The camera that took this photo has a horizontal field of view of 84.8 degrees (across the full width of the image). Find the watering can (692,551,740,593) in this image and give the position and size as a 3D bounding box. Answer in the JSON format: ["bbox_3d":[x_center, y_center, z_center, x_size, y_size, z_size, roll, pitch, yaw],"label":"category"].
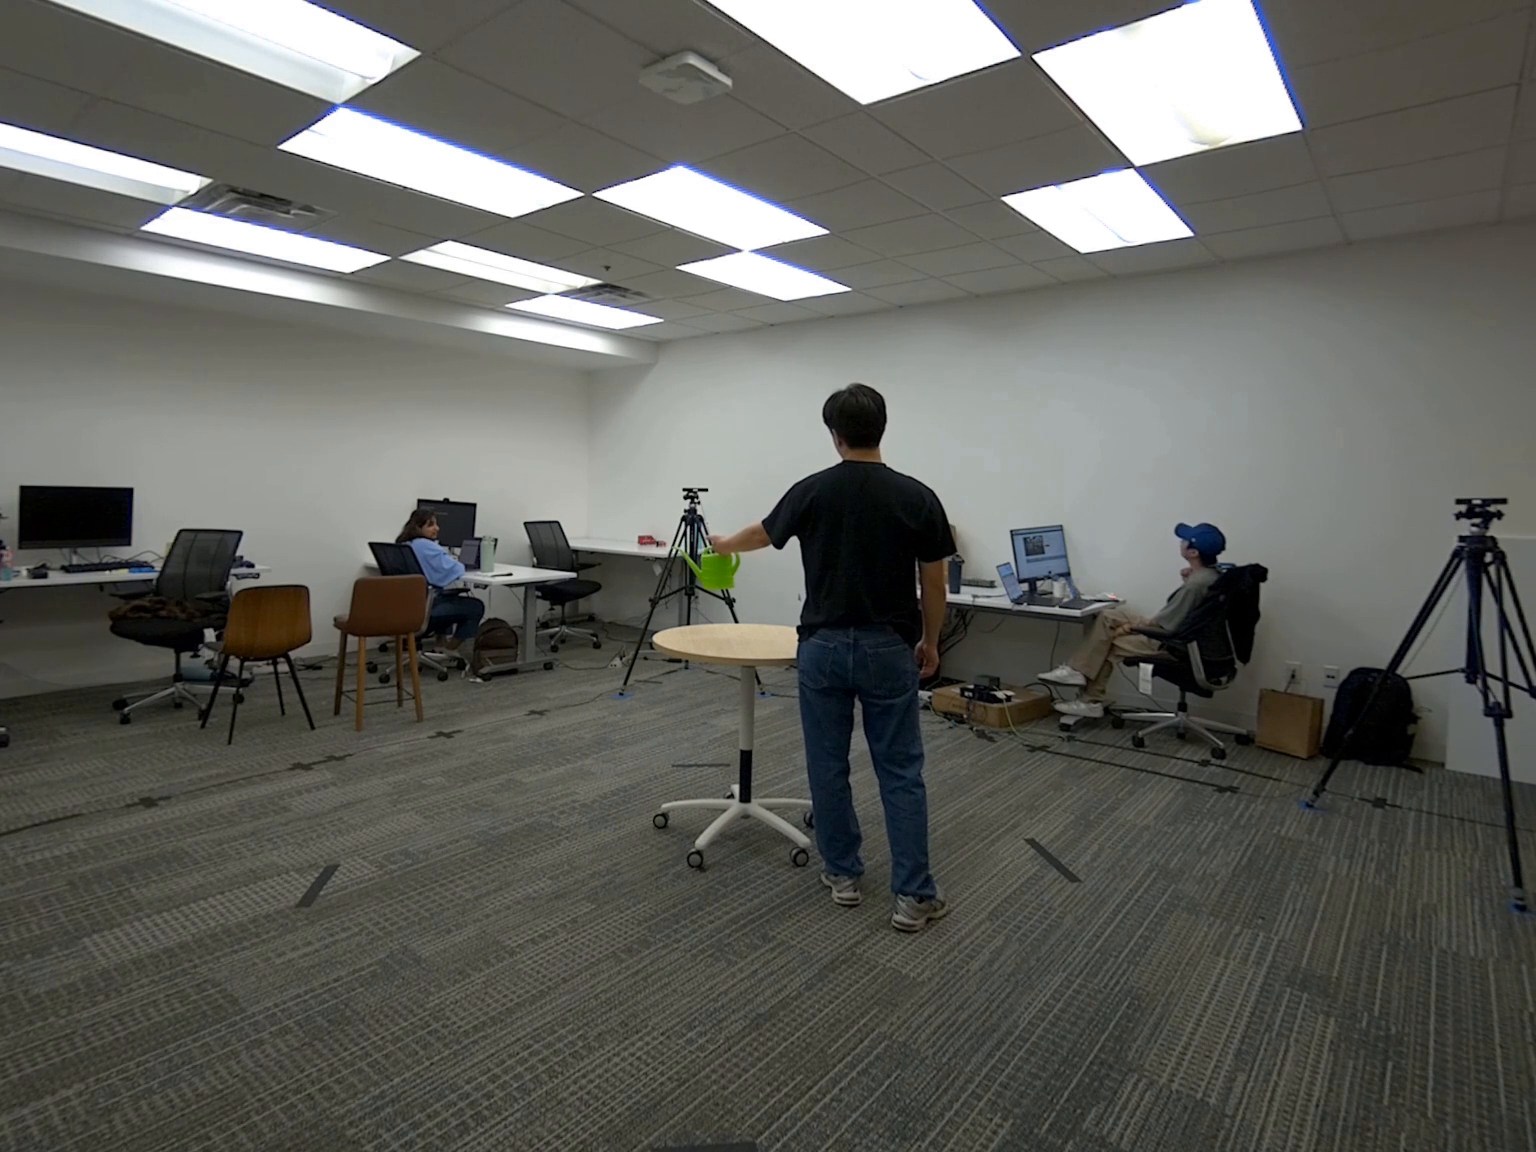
[{"bbox_3d":[-0.262,-0.040,3.434,0.284,0.177,0.096,0,2,22],"label":"watering can"}]
